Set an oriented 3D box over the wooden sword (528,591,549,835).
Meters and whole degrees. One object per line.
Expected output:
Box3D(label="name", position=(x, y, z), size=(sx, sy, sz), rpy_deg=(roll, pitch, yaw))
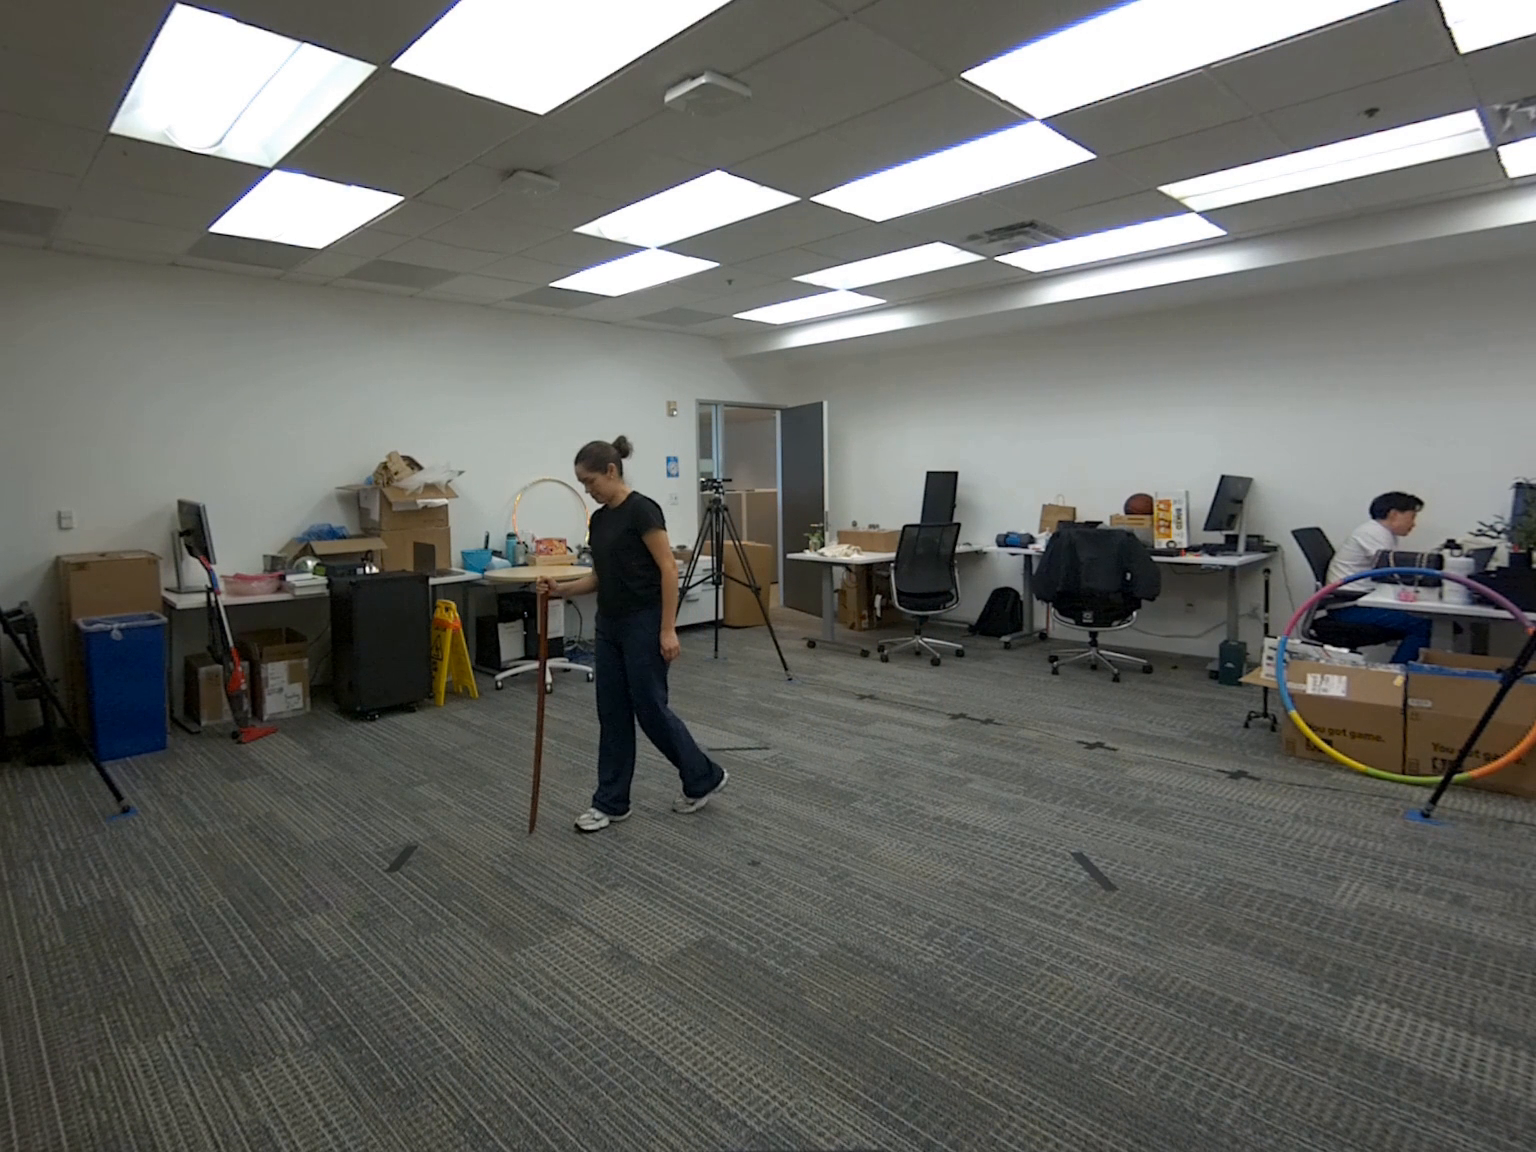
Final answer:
Box3D(label="wooden sword", position=(-0.918, 0.519, 3.446), size=(0.024, 1.027, 0.052), rpy_deg=(4, -3, -13))
